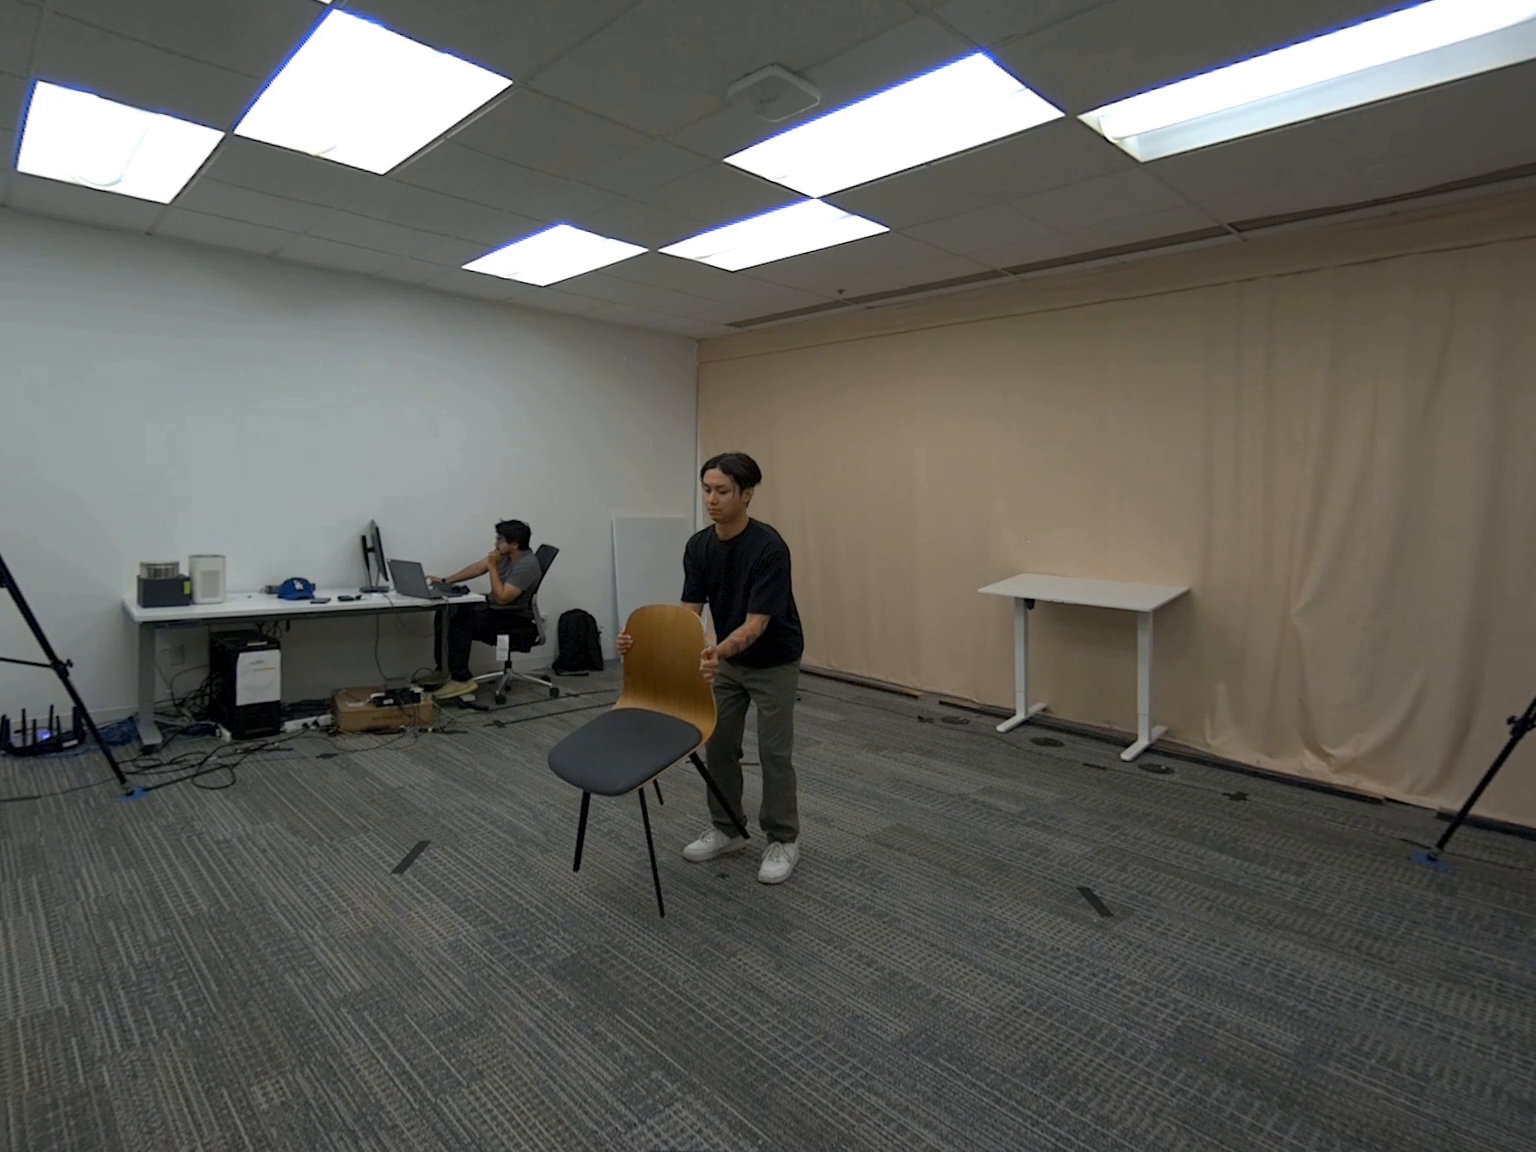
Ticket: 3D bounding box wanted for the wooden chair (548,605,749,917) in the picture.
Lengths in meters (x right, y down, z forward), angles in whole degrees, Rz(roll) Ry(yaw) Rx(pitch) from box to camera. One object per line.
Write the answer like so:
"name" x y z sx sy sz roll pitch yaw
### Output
"wooden chair" -0.441 0.597 2.845 0.490 0.867 0.516 7 19 39
